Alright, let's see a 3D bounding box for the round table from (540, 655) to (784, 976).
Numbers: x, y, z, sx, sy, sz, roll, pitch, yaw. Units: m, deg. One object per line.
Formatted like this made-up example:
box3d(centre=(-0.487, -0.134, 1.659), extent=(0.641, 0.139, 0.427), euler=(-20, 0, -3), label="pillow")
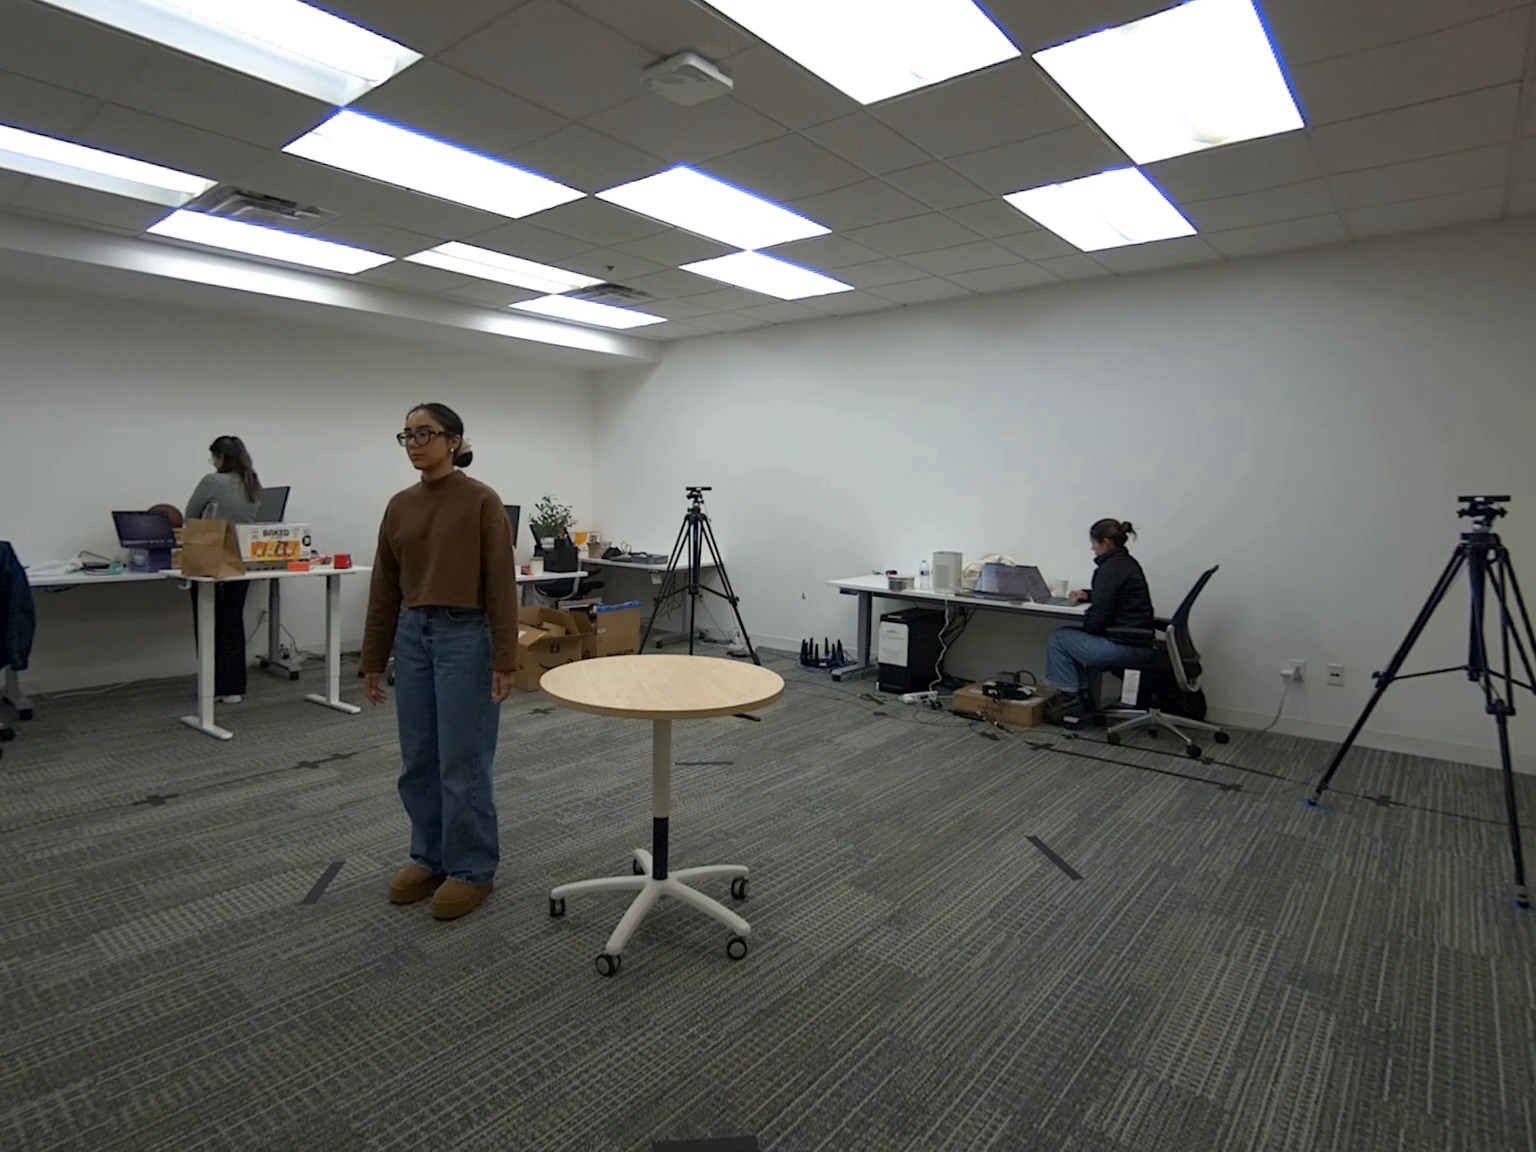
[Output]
box3d(centre=(-0.335, 0.708, 2.713), extent=(0.784, 0.783, 0.789), euler=(0, 5, -2), label="round table")
